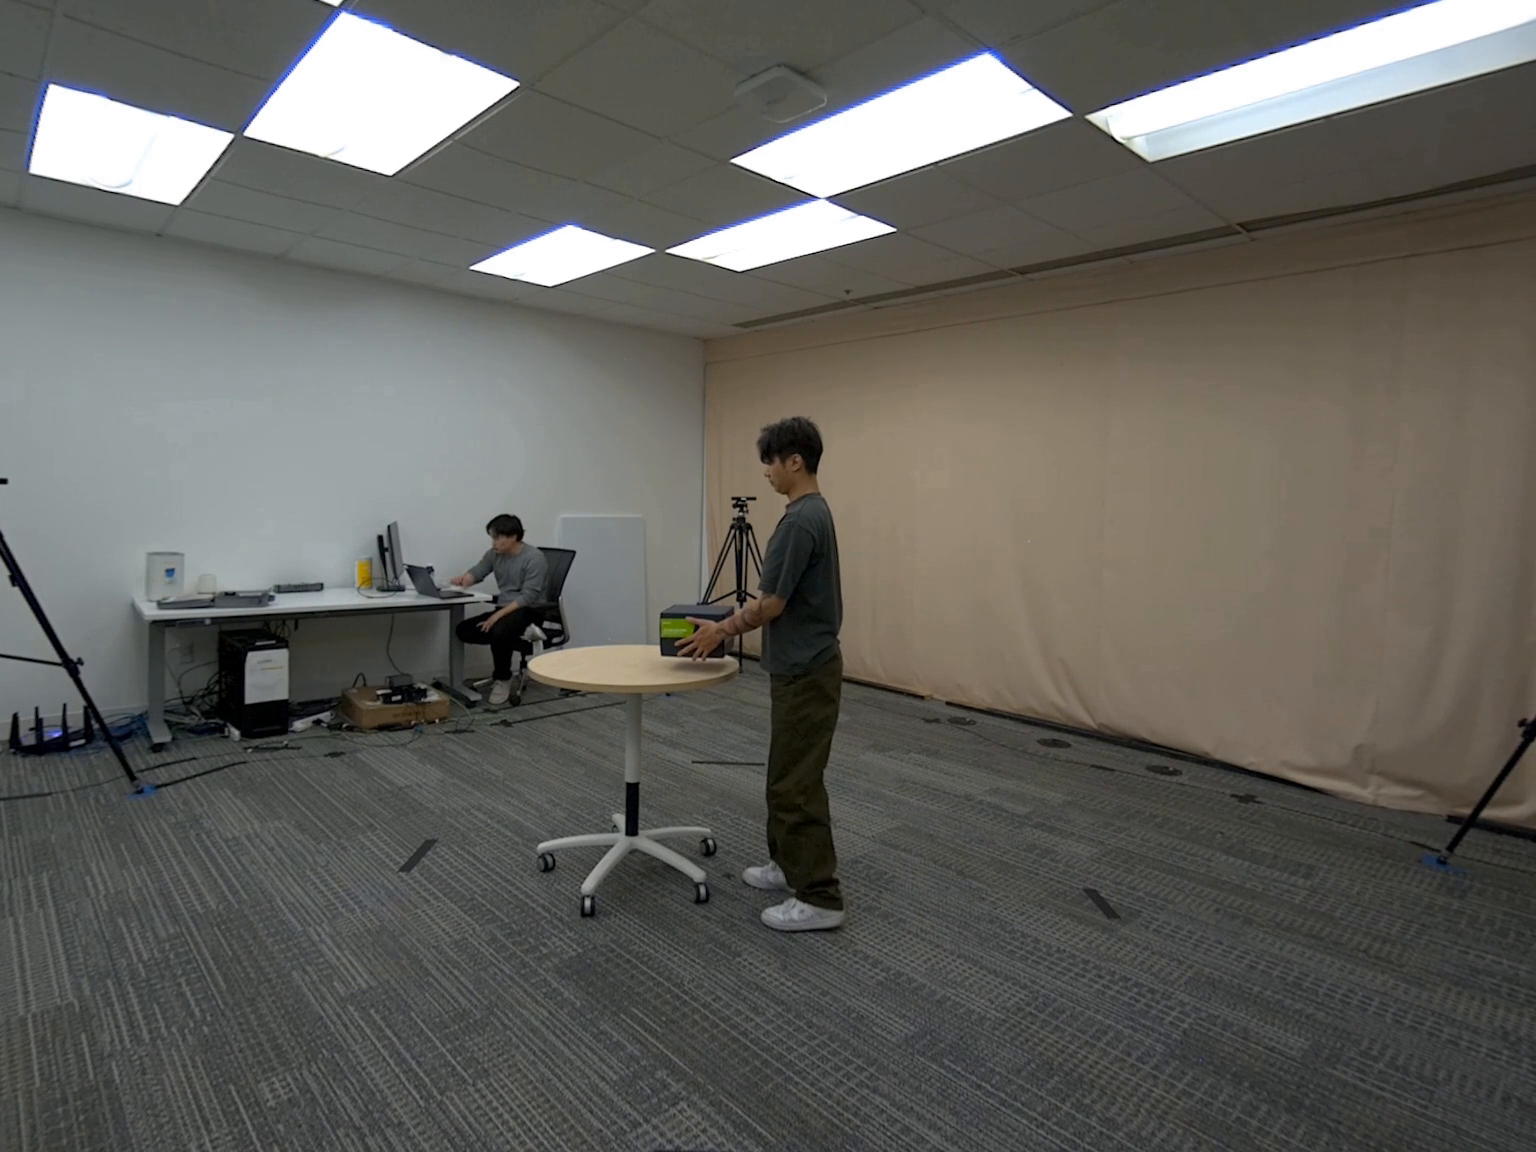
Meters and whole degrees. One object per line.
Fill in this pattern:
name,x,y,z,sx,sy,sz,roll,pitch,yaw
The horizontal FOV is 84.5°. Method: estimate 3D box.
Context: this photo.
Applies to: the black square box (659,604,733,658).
black square box,-0.255,0.191,3.020,0.229,0.155,0.216,1,6,8
